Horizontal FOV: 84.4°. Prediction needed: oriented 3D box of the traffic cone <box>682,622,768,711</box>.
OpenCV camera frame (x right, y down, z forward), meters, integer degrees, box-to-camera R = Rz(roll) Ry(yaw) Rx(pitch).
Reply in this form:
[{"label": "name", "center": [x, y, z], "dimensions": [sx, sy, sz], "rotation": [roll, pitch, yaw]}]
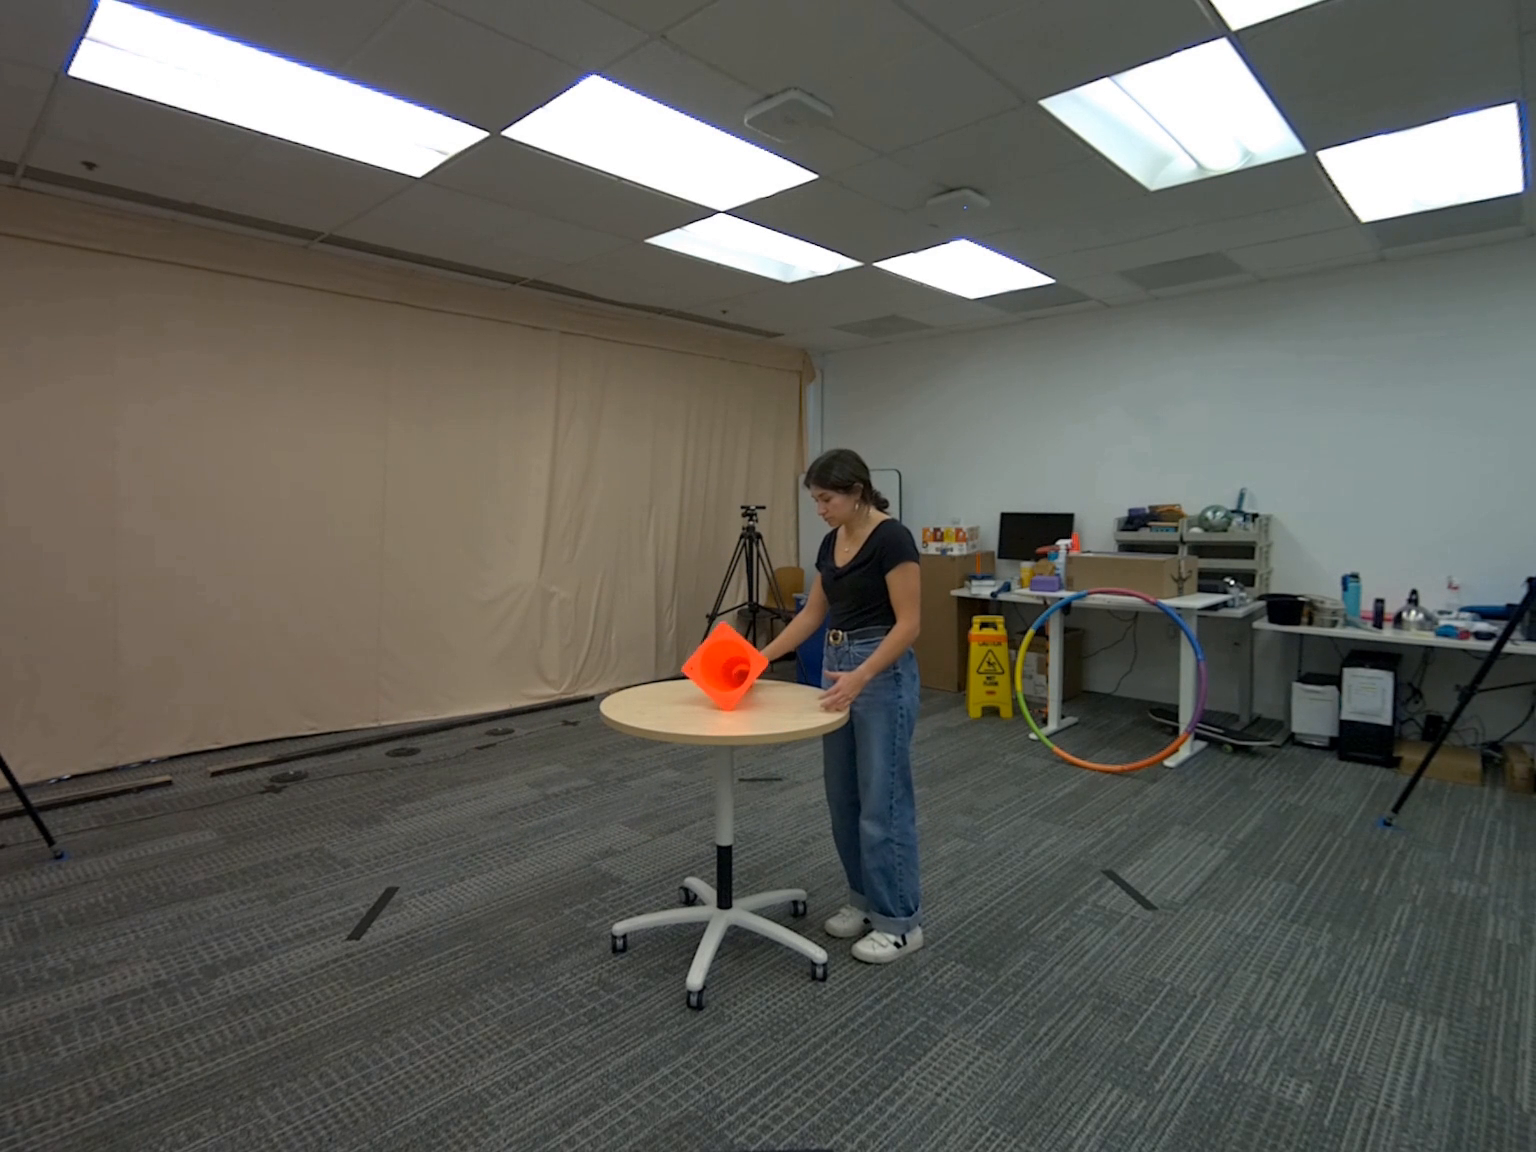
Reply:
[{"label": "traffic cone", "center": [-0.092, 0.324, 2.700], "dimensions": [0.208, 0.205, 0.375], "rotation": [39, -6, 18]}]
